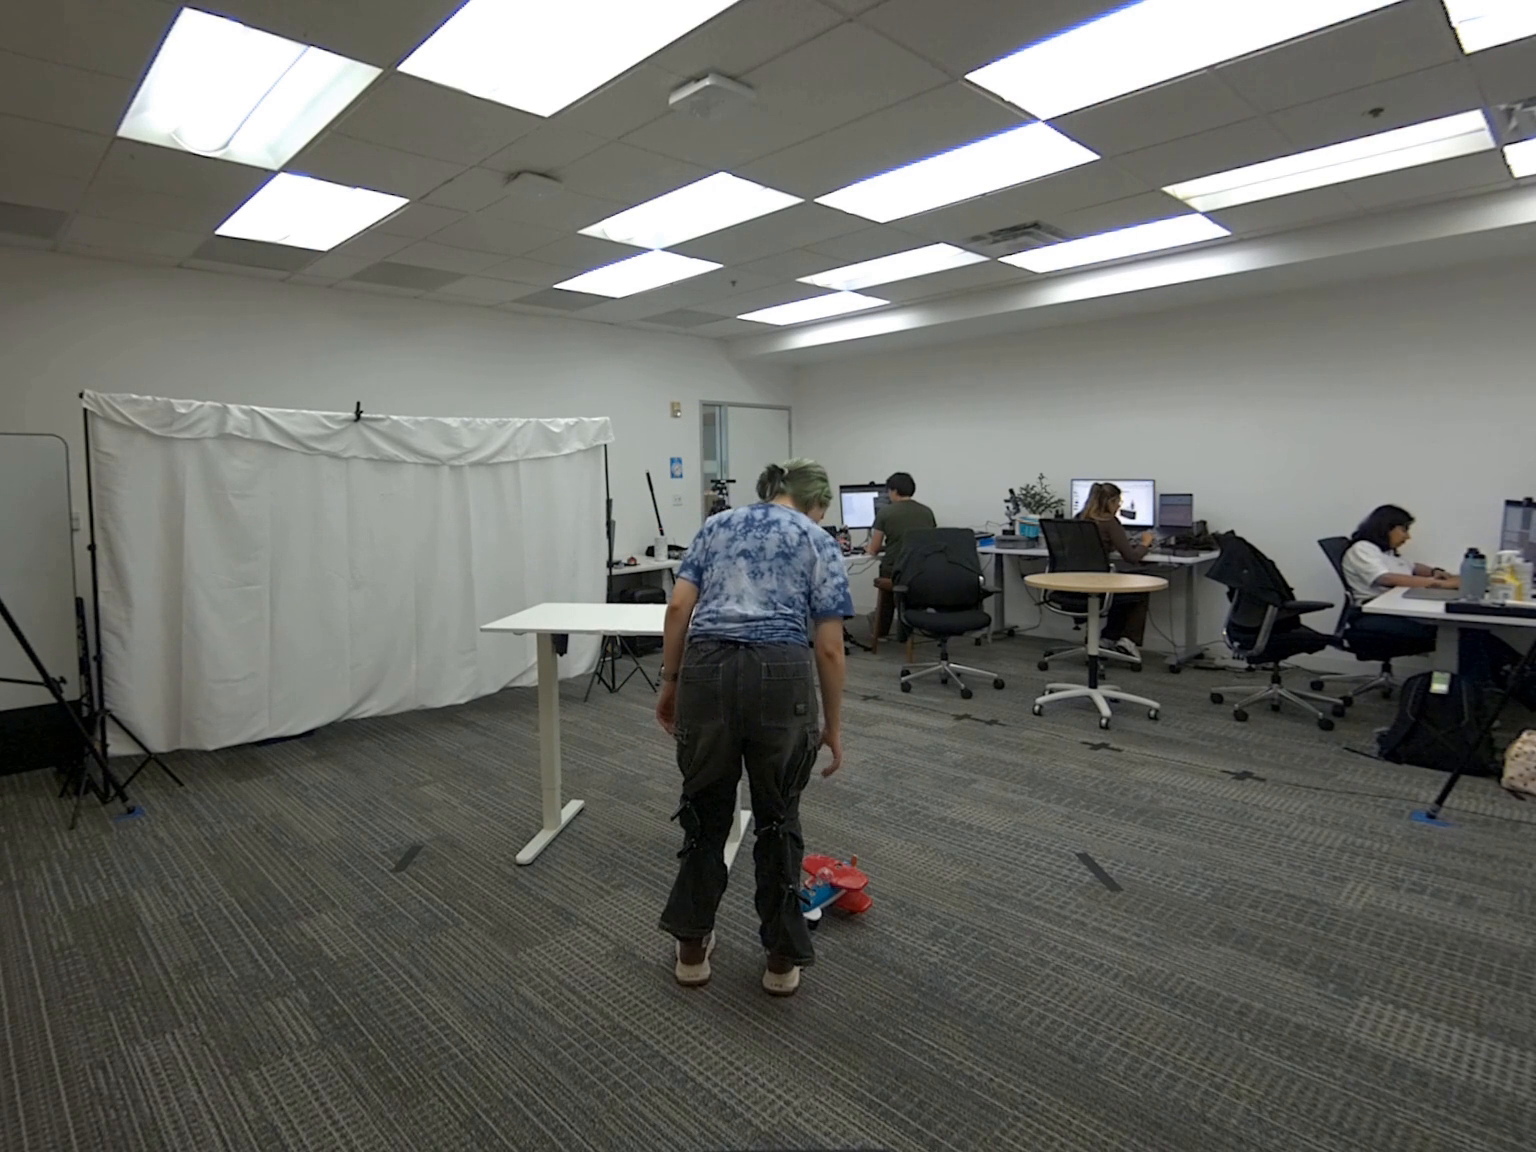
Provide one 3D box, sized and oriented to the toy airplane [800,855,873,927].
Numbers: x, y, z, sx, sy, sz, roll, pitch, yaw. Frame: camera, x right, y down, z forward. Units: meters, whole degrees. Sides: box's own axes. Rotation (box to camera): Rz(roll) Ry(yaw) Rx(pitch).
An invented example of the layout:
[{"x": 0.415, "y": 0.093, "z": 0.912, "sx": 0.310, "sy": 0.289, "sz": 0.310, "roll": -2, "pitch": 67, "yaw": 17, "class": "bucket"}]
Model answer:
[{"x": 0.208, "y": 1.013, "z": 2.708, "sx": 0.256, "sy": 0.156, "sz": 0.255, "roll": 1, "pitch": 4, "yaw": 19, "class": "toy airplane"}]
